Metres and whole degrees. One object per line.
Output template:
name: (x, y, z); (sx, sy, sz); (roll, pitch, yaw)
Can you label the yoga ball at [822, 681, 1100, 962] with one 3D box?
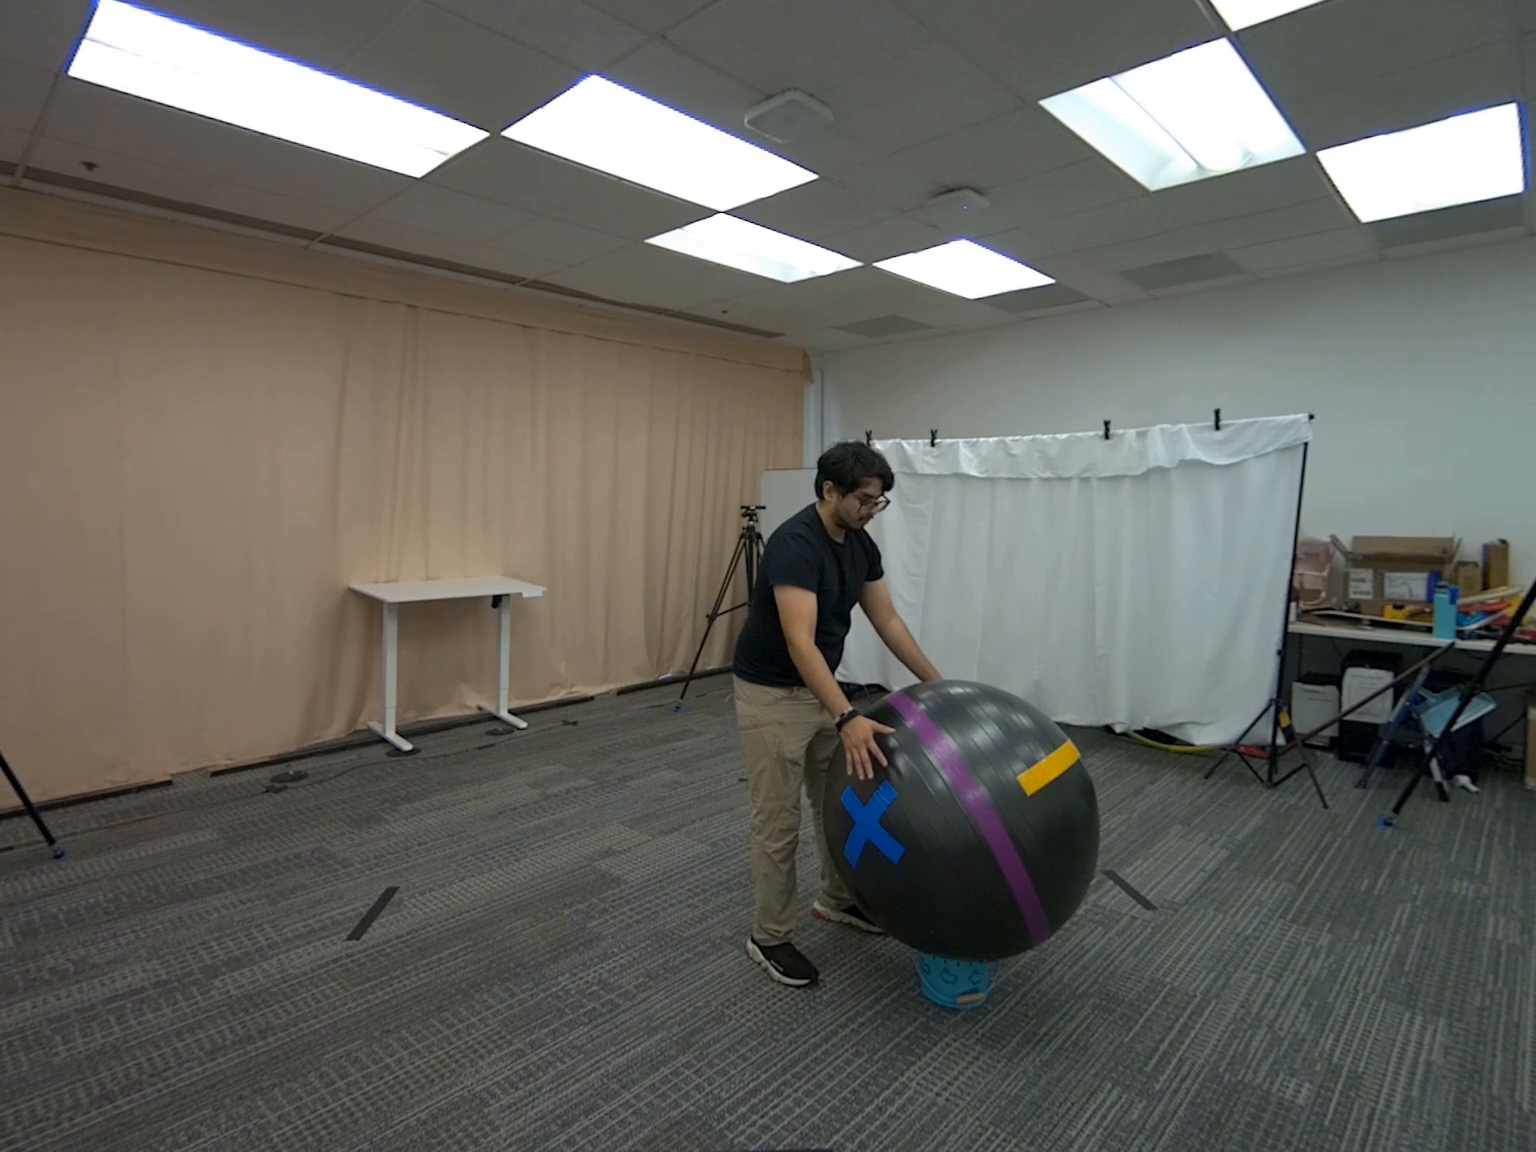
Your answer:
yoga ball: (0.537, 0.689, 2.393); (0.757, 0.756, 0.760); (0, 4, -2)
